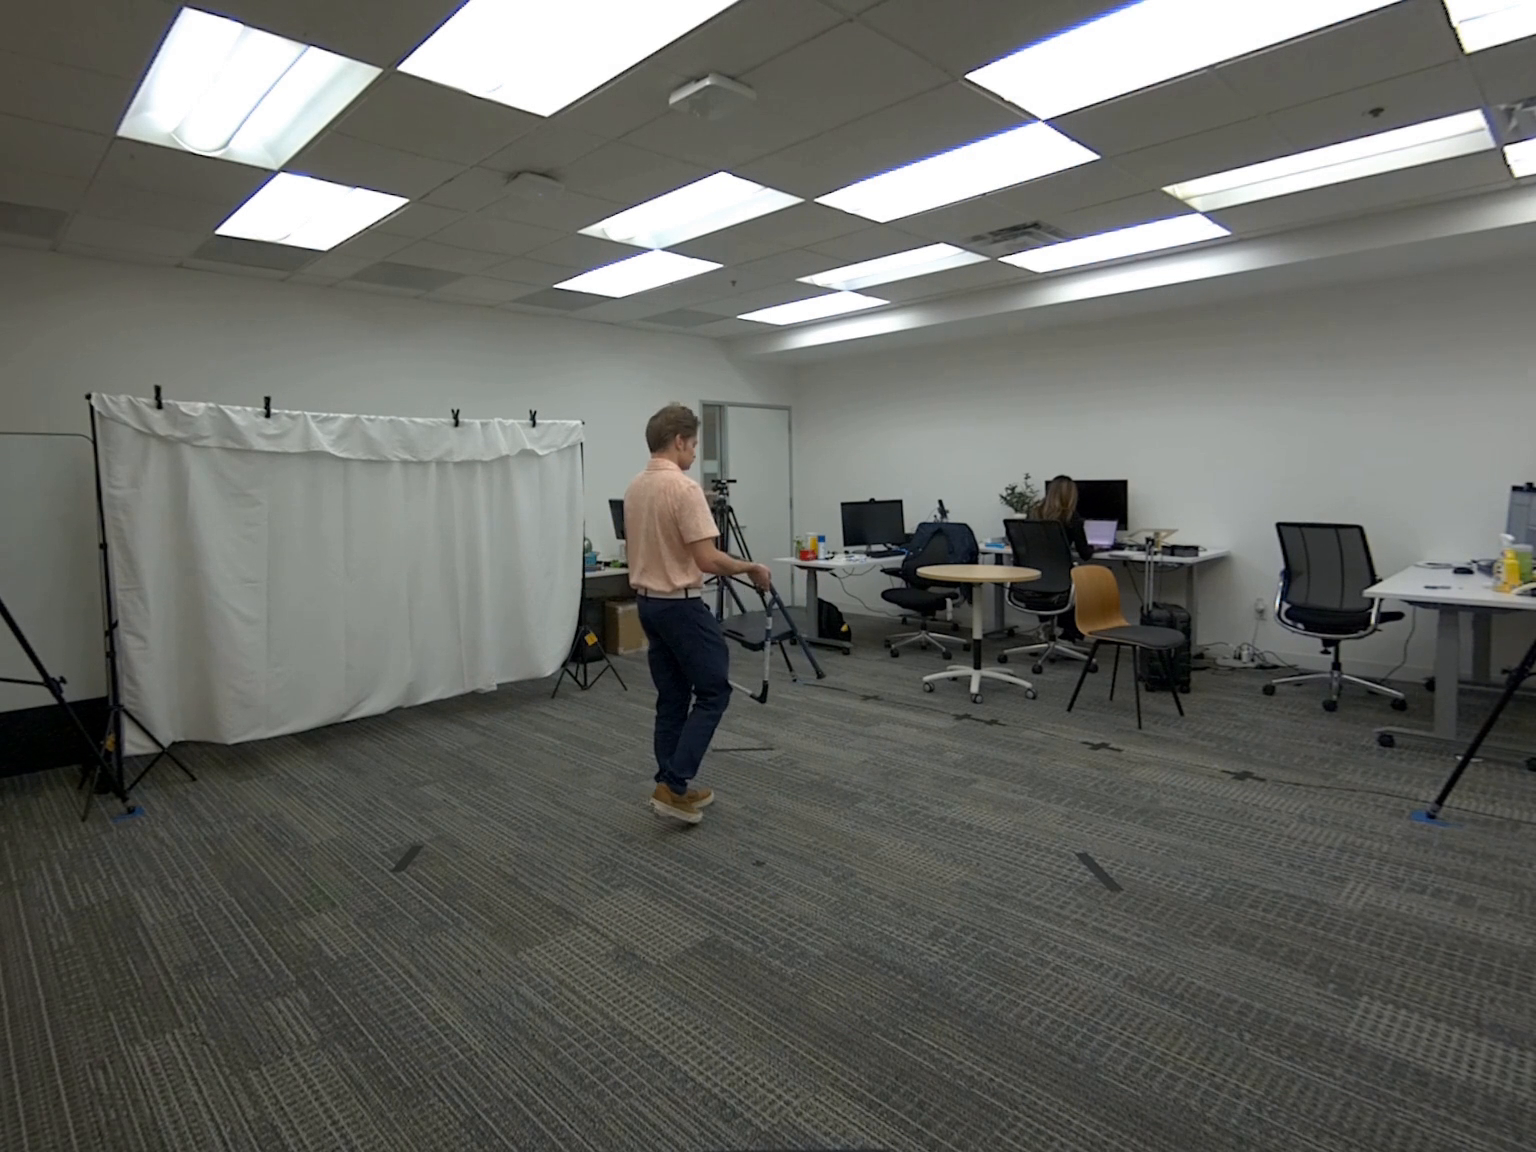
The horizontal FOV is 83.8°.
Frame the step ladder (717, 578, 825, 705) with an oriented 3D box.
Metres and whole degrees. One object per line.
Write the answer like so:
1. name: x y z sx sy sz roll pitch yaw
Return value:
1. step ladder: -0.049 0.178 3.773 0.343 0.596 0.445 -19 18 -32
